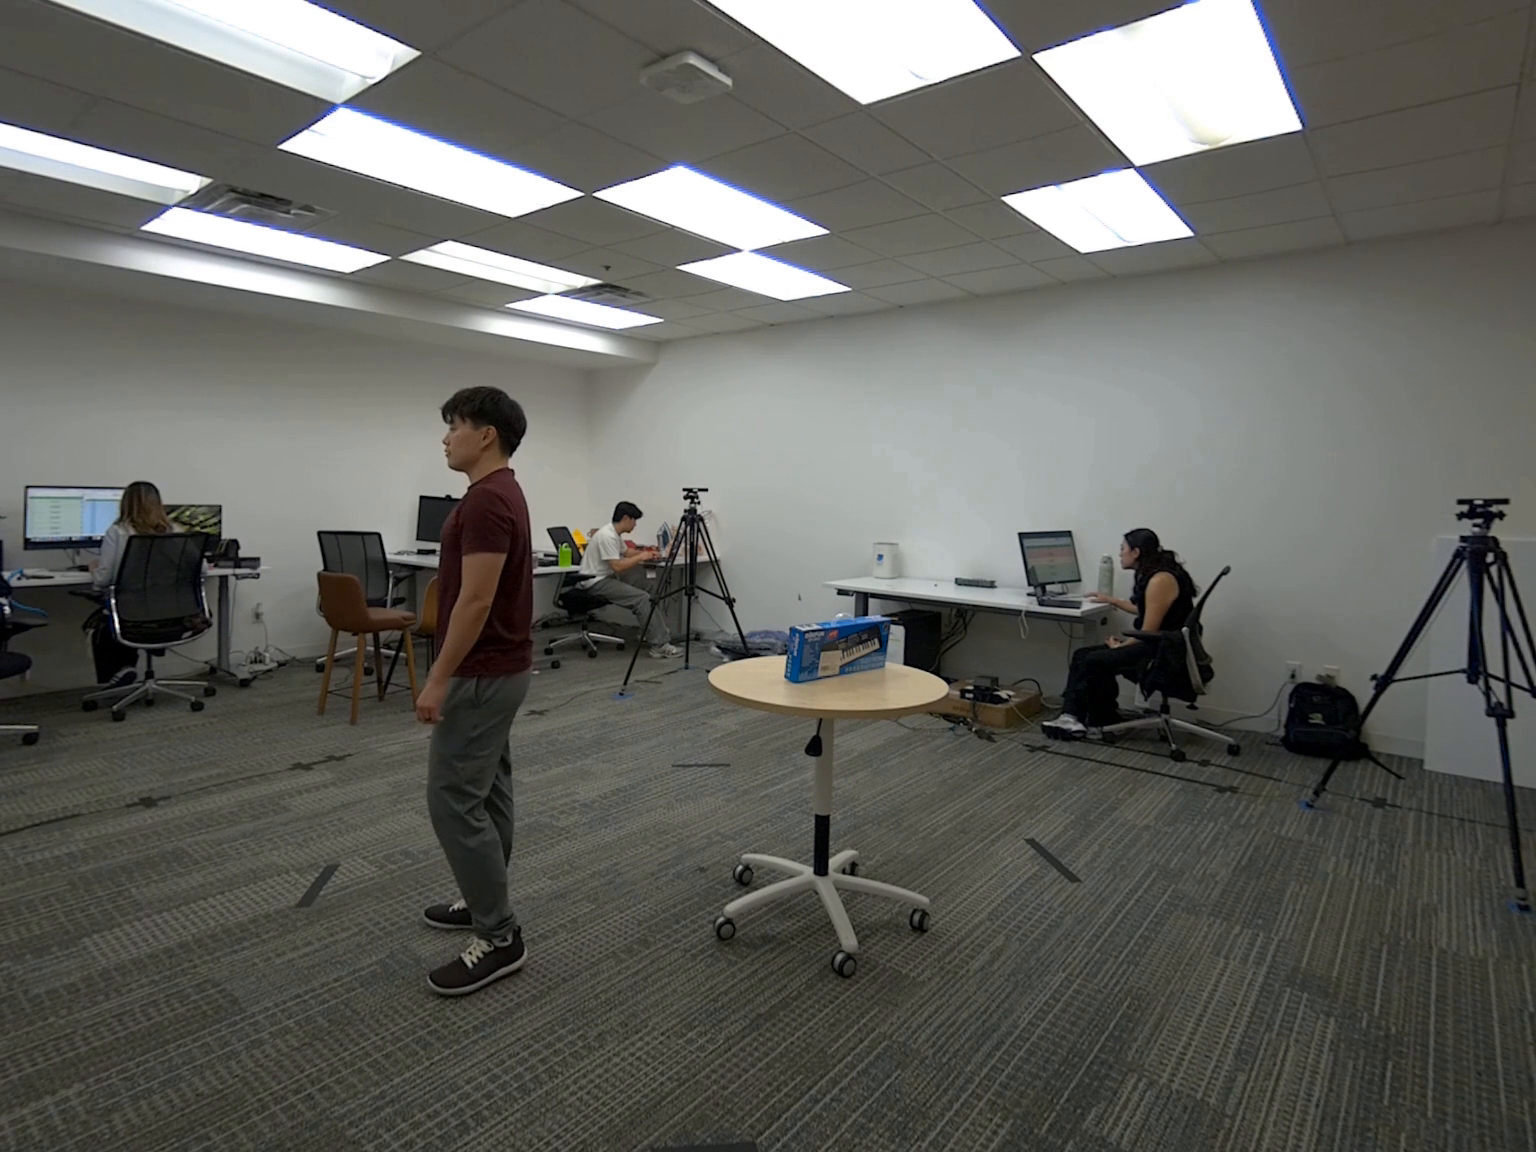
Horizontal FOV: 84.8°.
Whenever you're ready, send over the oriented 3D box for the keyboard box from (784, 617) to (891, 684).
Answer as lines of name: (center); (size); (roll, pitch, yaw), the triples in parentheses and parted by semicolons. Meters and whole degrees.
keyboard box: (0.230, 0.240, 2.816); (0.424, 0.174, 0.061); (-4, 13, -41)
